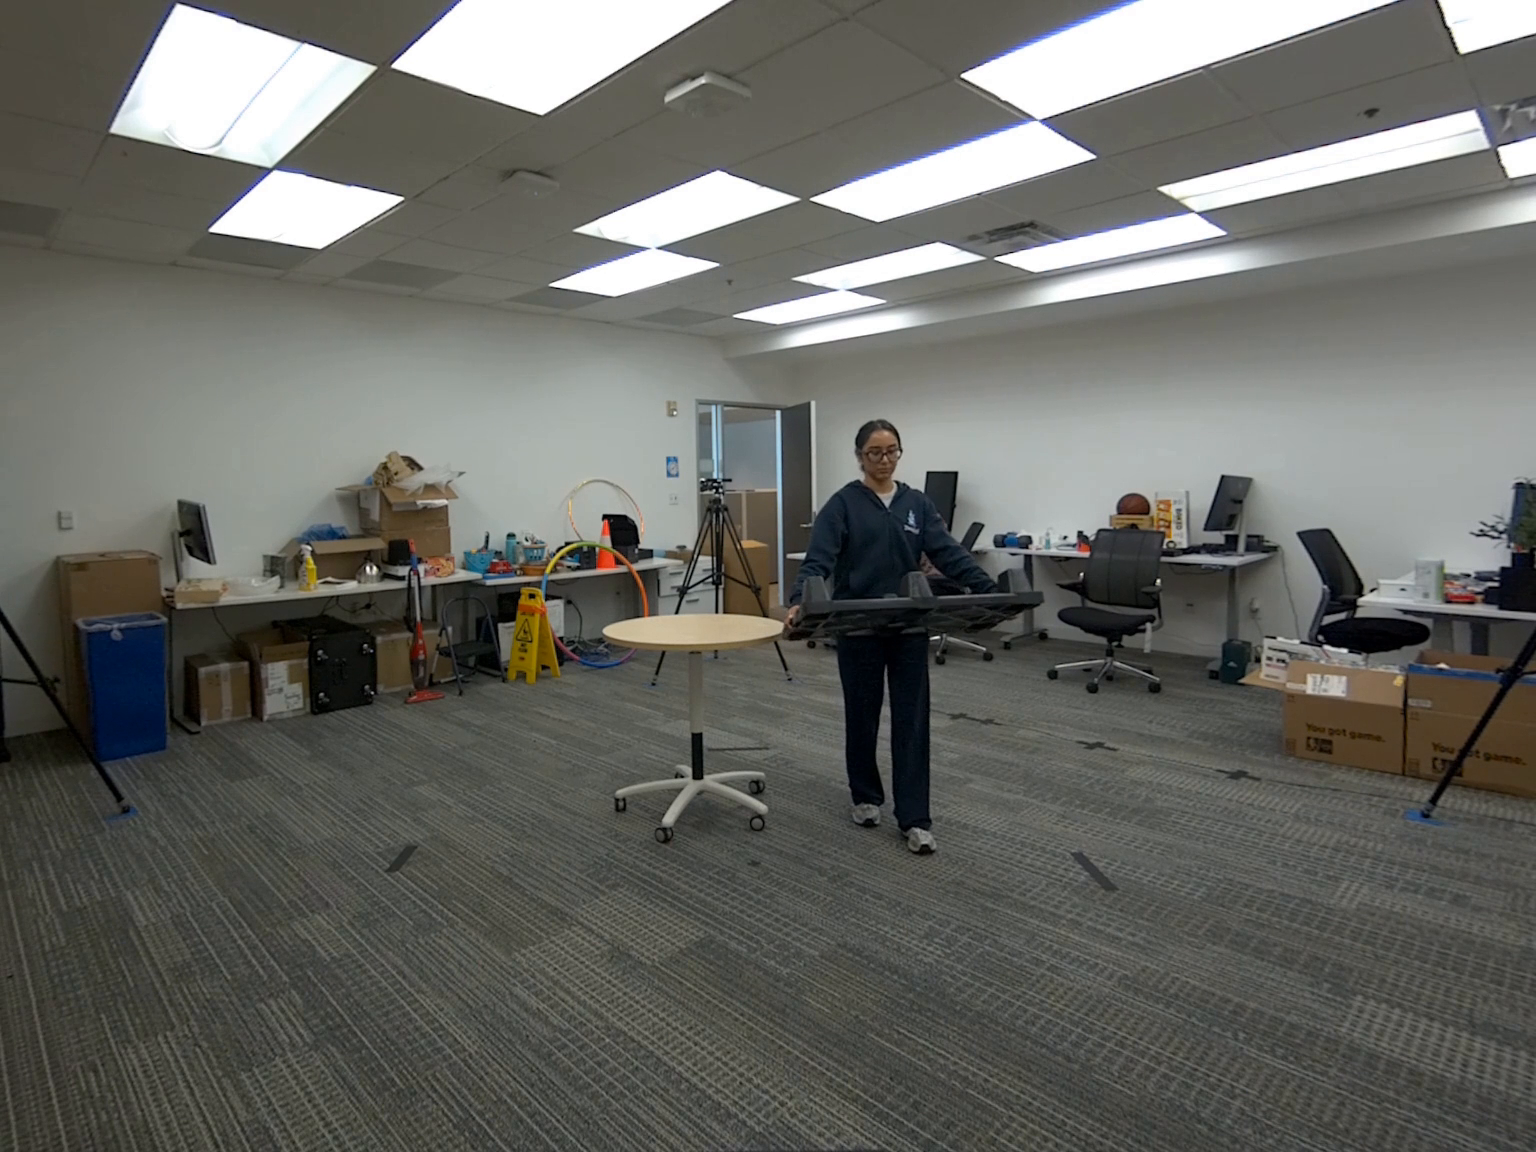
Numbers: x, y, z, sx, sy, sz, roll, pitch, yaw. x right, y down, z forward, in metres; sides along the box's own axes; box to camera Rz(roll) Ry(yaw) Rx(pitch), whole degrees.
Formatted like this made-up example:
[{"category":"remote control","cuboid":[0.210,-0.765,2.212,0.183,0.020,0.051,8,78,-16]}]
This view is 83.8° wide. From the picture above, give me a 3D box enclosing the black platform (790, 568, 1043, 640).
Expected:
[{"category":"black platform","cuboid":[0.477,0.109,3.045,0.803,0.145,0.598,-3,-14,-4]}]
